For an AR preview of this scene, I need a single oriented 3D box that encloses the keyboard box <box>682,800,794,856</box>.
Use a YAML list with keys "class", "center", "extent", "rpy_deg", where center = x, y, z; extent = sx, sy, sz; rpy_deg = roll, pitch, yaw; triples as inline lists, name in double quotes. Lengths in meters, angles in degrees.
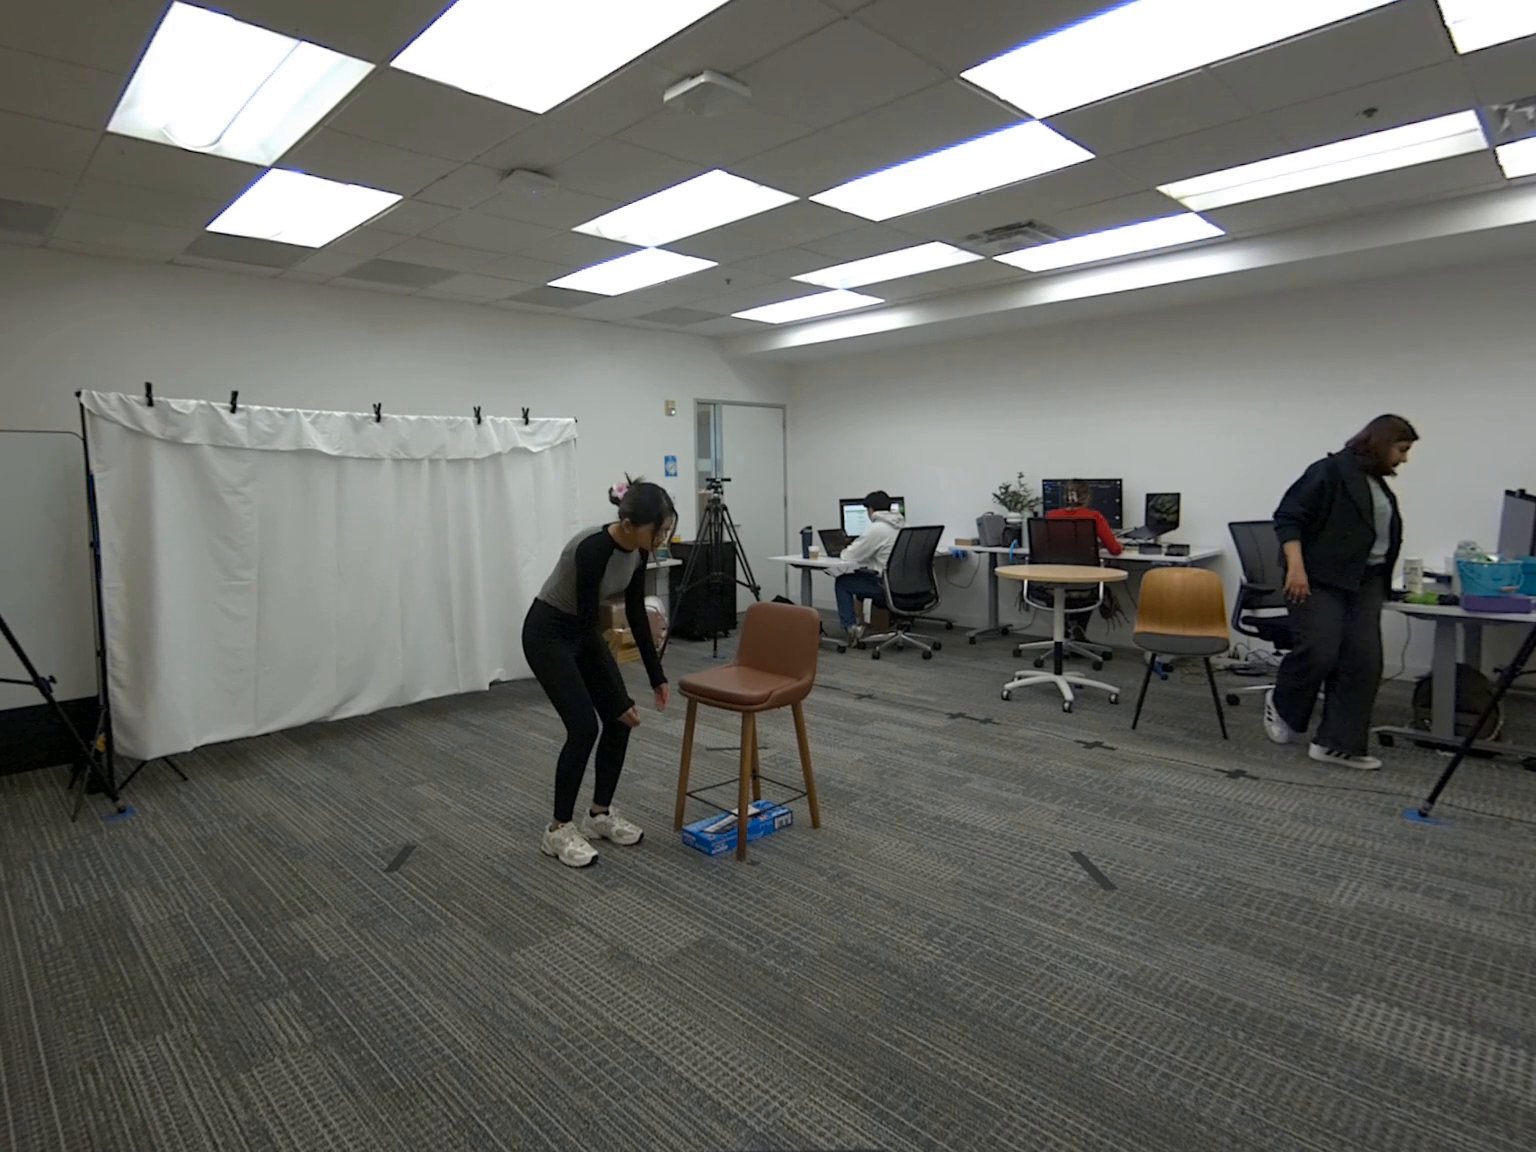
- class: "keyboard box"
  center: [-0.113, 0.988, 3.369]
  extent: [0.425, 0.059, 0.181]
  rpy_deg: [-7, 8, -42]
